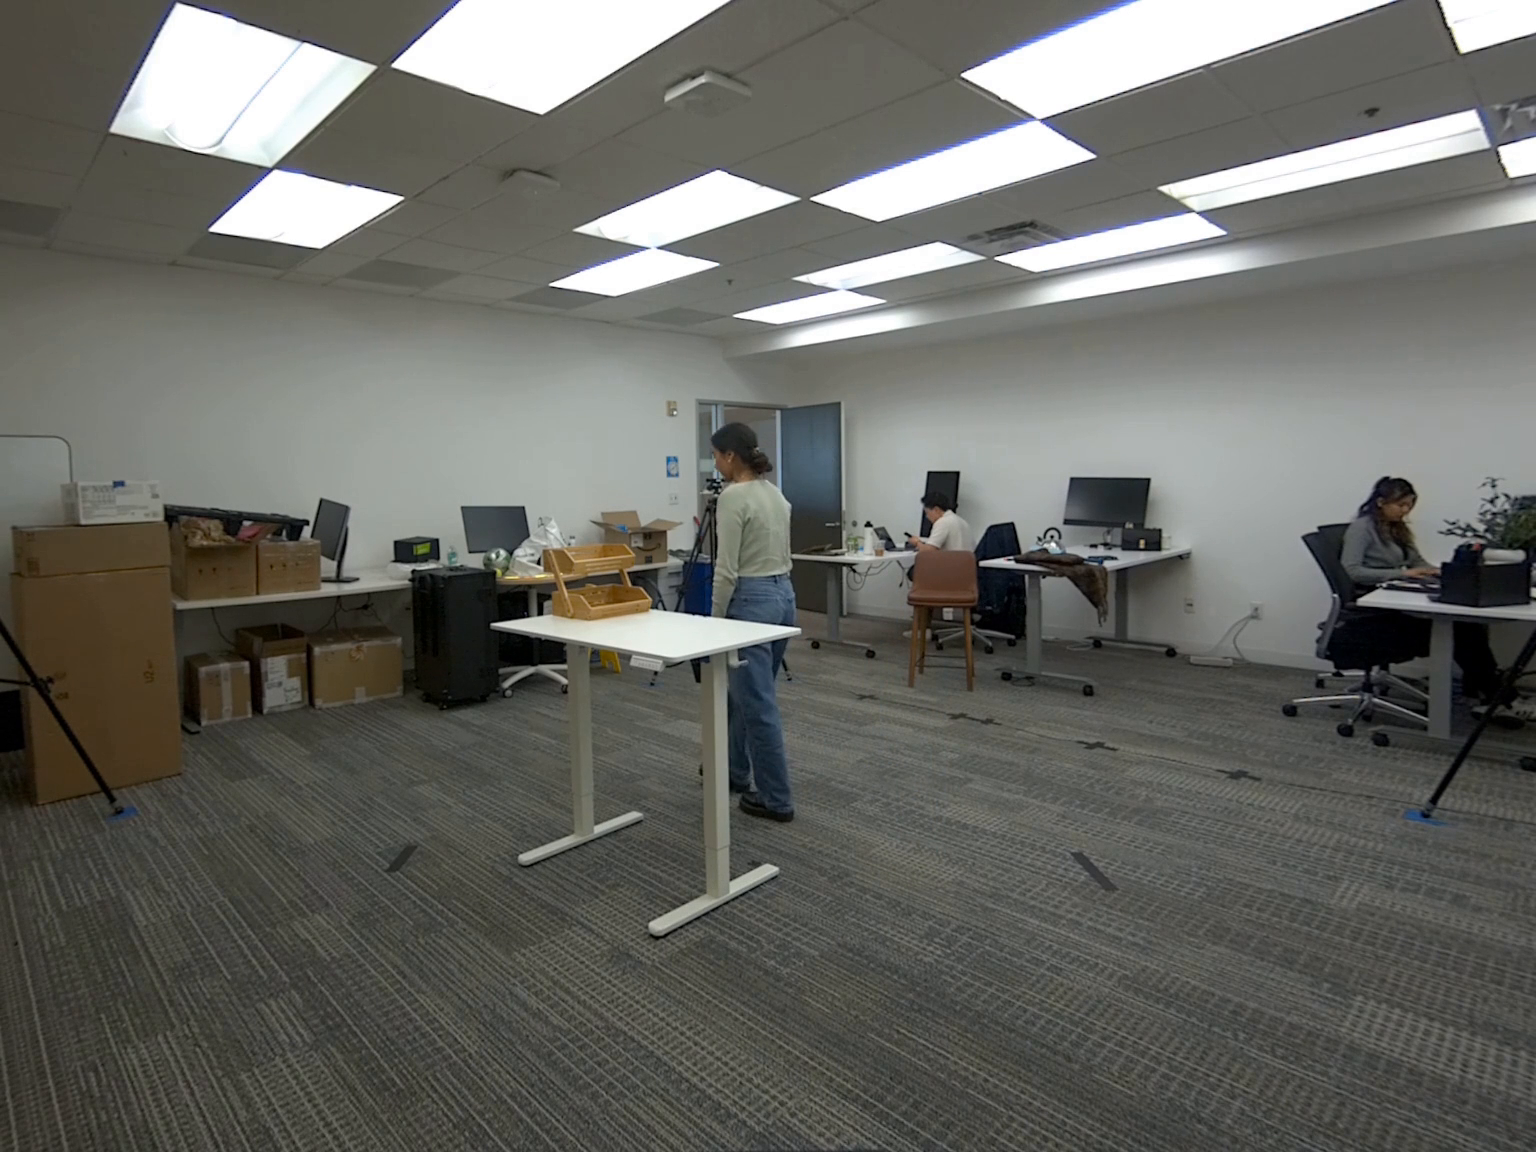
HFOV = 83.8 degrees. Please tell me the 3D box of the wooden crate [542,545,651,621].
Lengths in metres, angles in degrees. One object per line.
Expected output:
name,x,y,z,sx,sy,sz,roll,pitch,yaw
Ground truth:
wooden crate,-0.667,0.013,3.367,0.311,0.272,0.316,2,6,43
